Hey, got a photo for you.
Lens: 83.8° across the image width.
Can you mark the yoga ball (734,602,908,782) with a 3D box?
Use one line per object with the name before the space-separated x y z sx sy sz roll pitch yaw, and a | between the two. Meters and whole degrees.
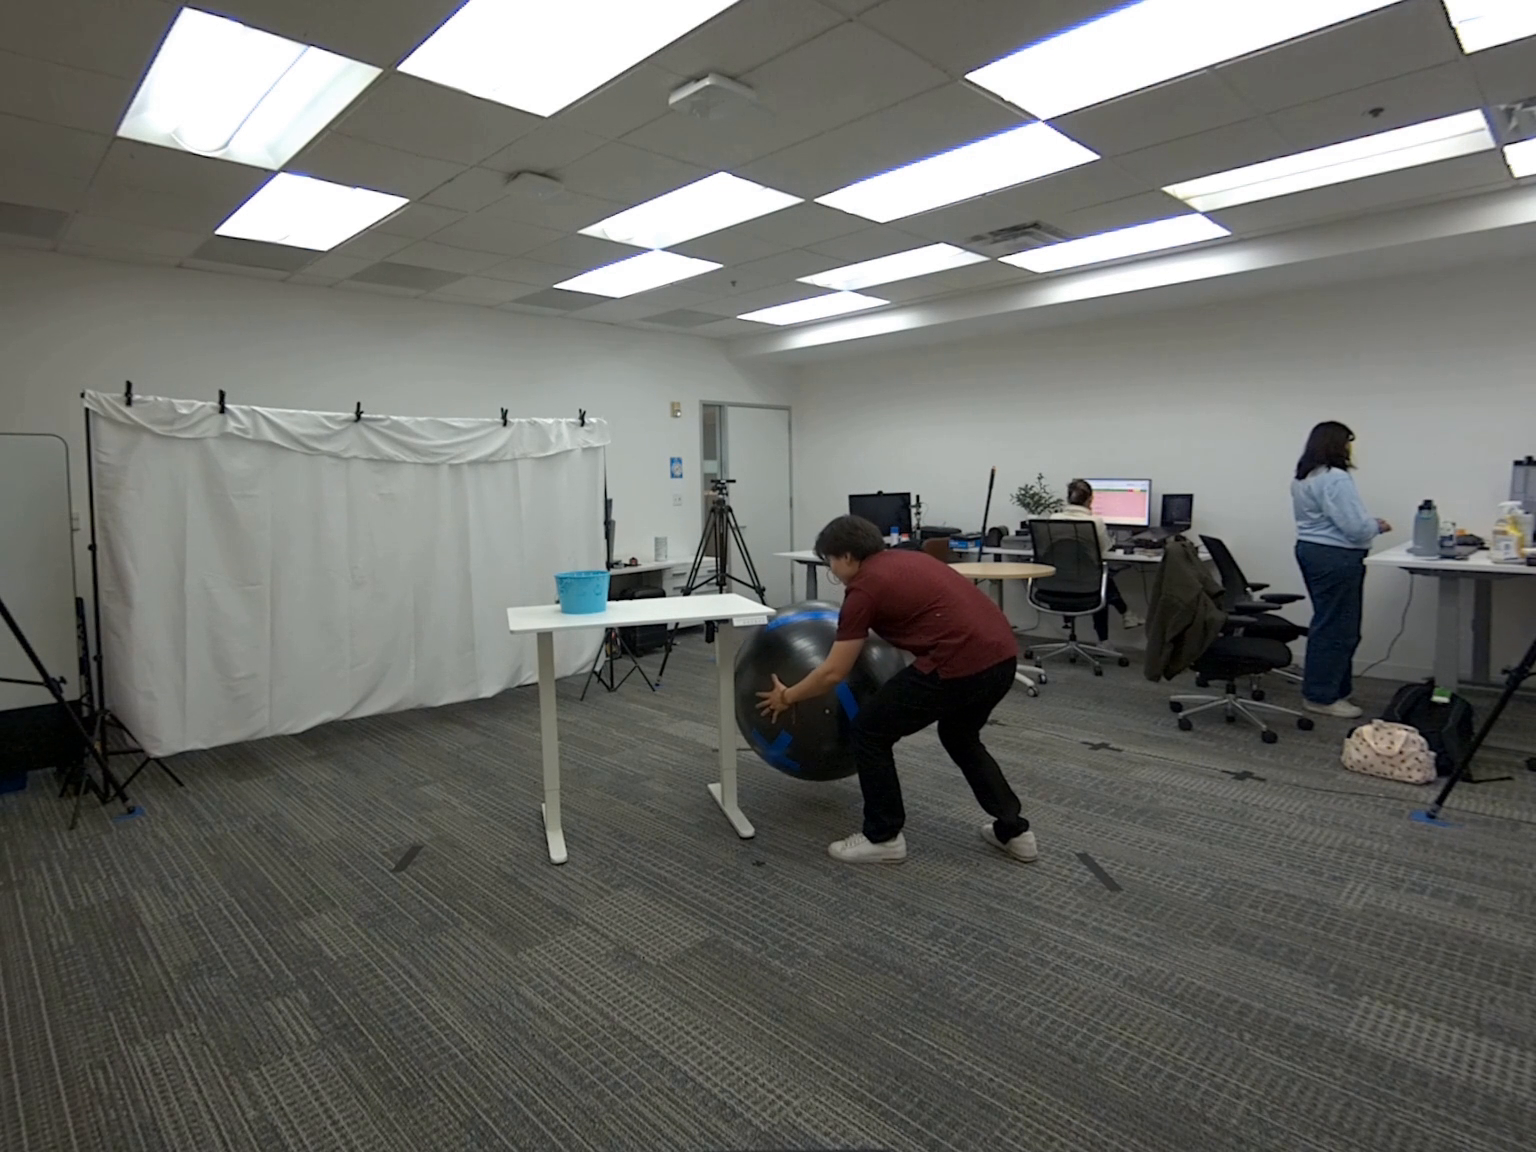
yoga ball | 0.214 0.489 3.657 0.757 0.755 0.762 -1 5 -2
